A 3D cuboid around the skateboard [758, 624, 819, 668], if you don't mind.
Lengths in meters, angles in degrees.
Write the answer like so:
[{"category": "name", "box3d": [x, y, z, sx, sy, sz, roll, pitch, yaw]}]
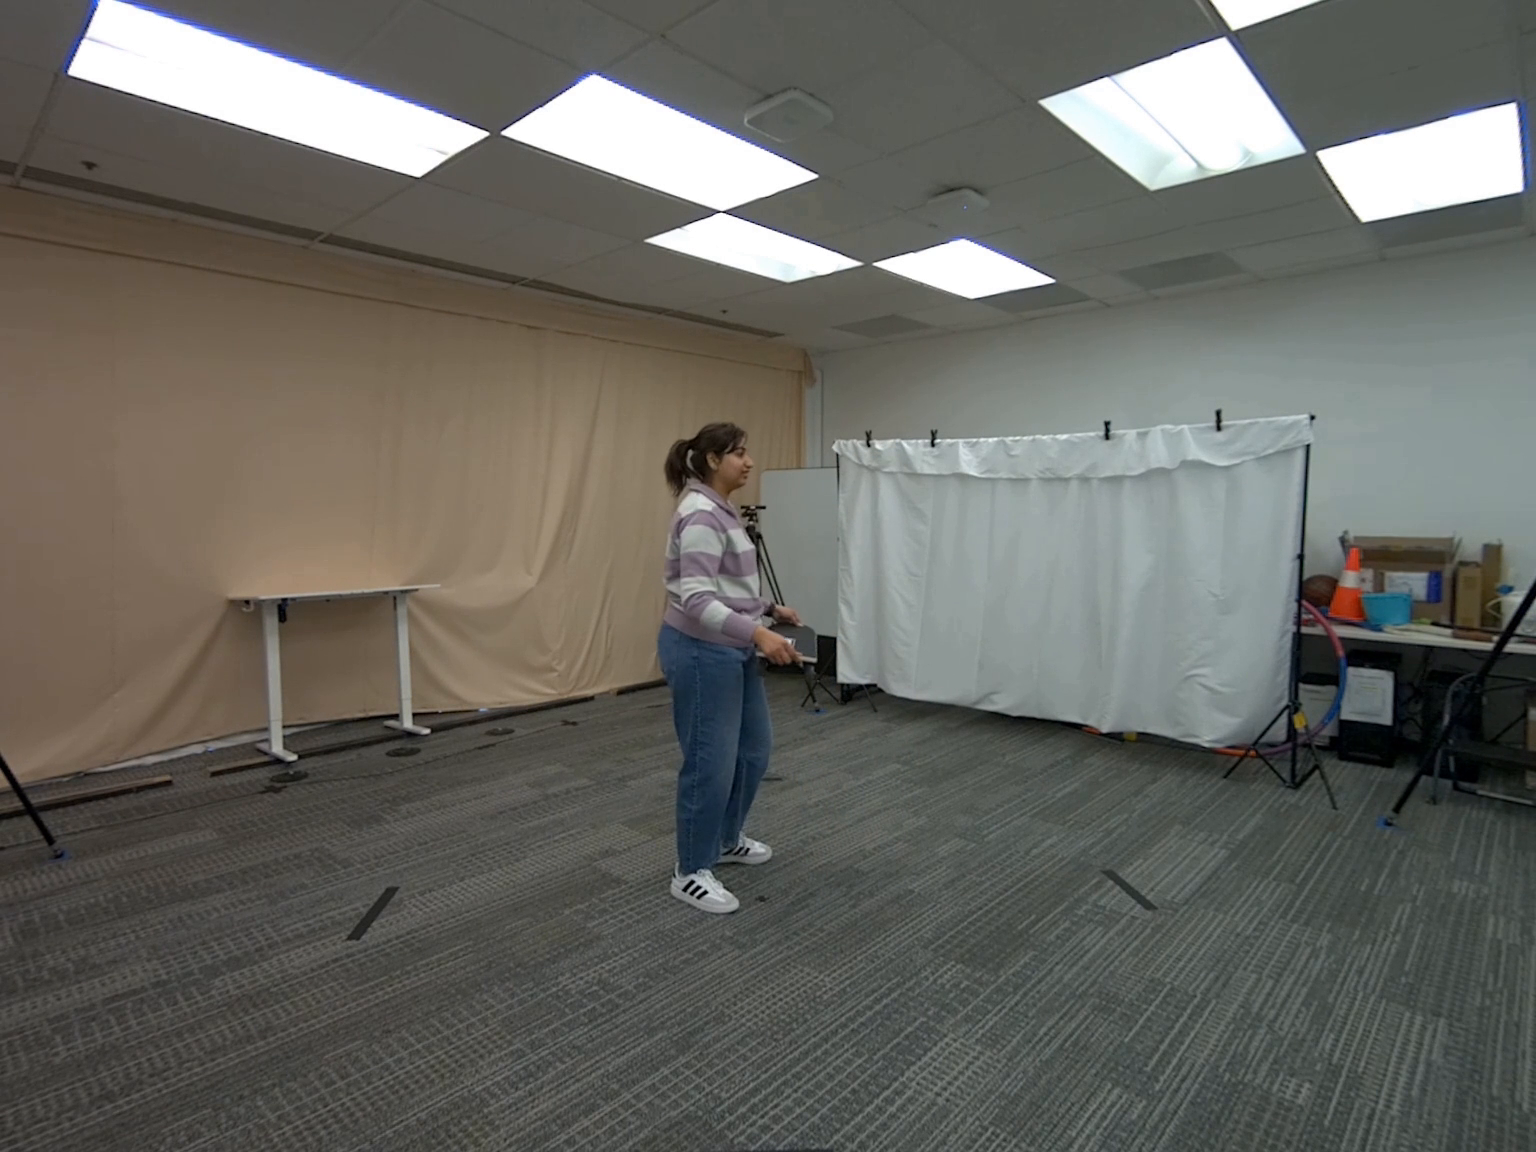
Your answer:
[{"category": "skateboard", "box3d": [0.069, 0.259, 2.923, 0.195, 0.110, 0.782, 5, 5, 4]}]
